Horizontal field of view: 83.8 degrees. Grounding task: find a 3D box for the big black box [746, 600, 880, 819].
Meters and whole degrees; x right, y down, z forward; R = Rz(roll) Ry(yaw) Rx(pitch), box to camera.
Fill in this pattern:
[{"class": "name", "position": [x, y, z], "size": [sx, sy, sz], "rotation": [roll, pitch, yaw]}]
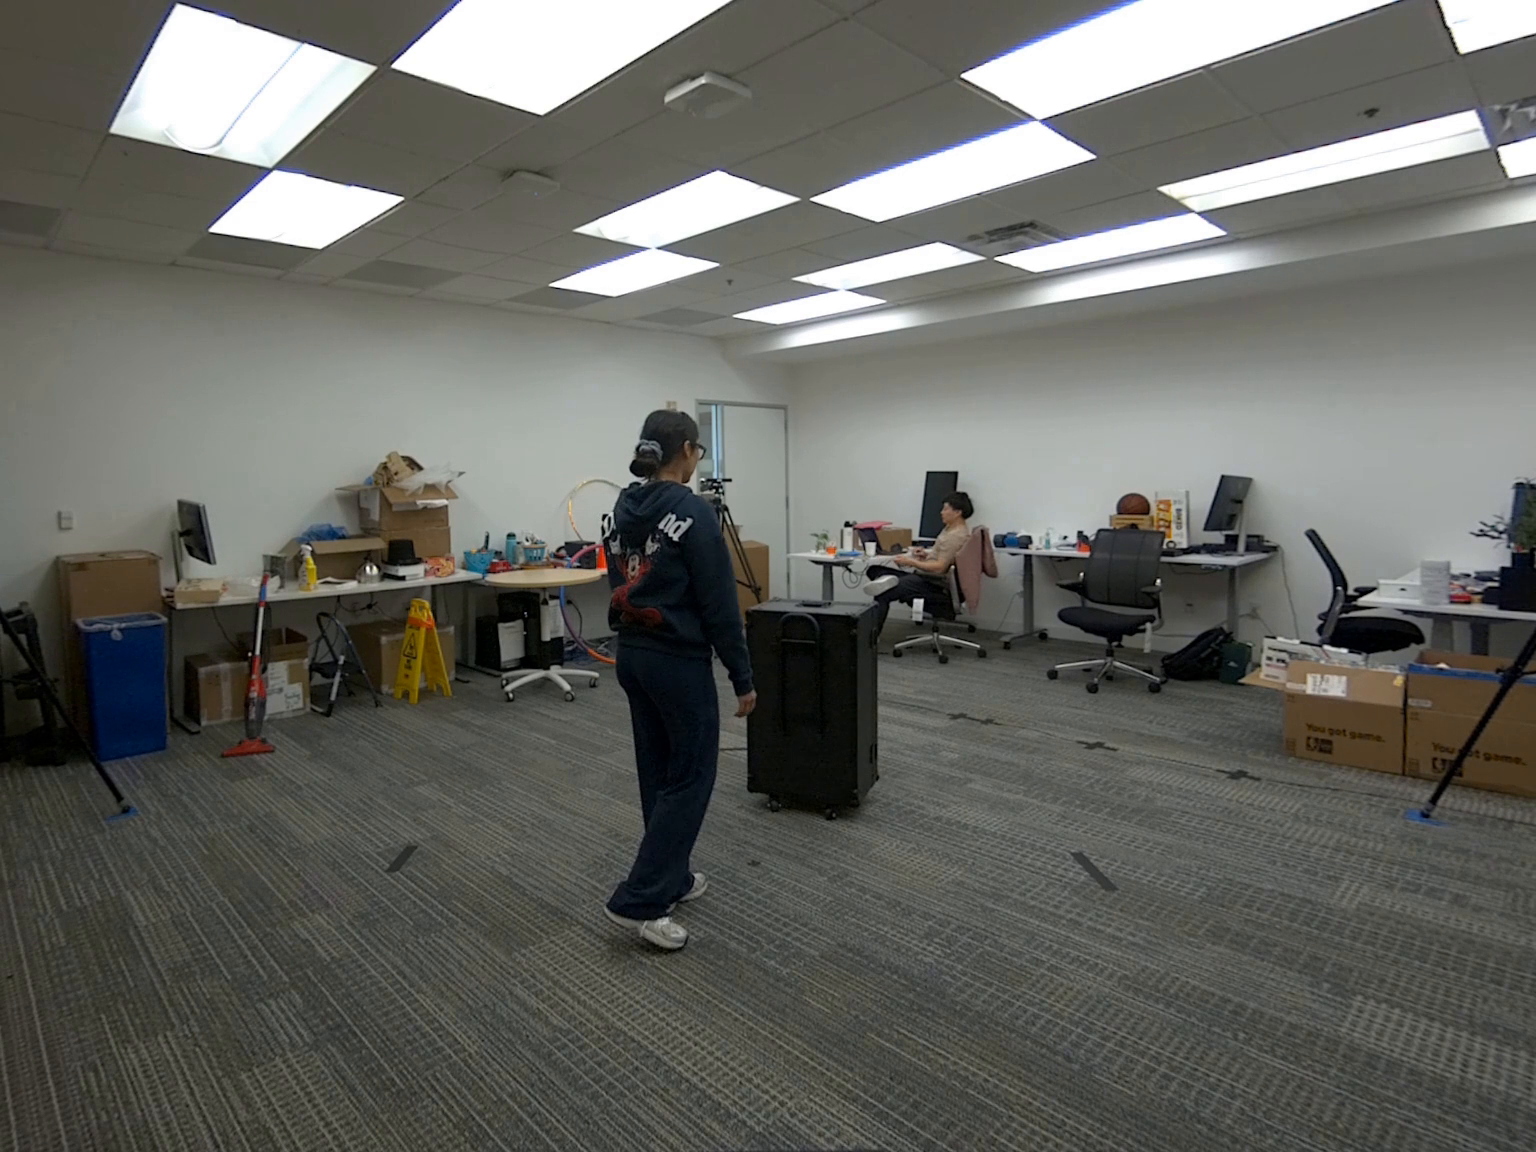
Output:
[{"class": "big black box", "position": [0.200, 0.554, 3.652], "size": [0.532, 0.857, 0.389], "rotation": [2, 5, 23]}]
